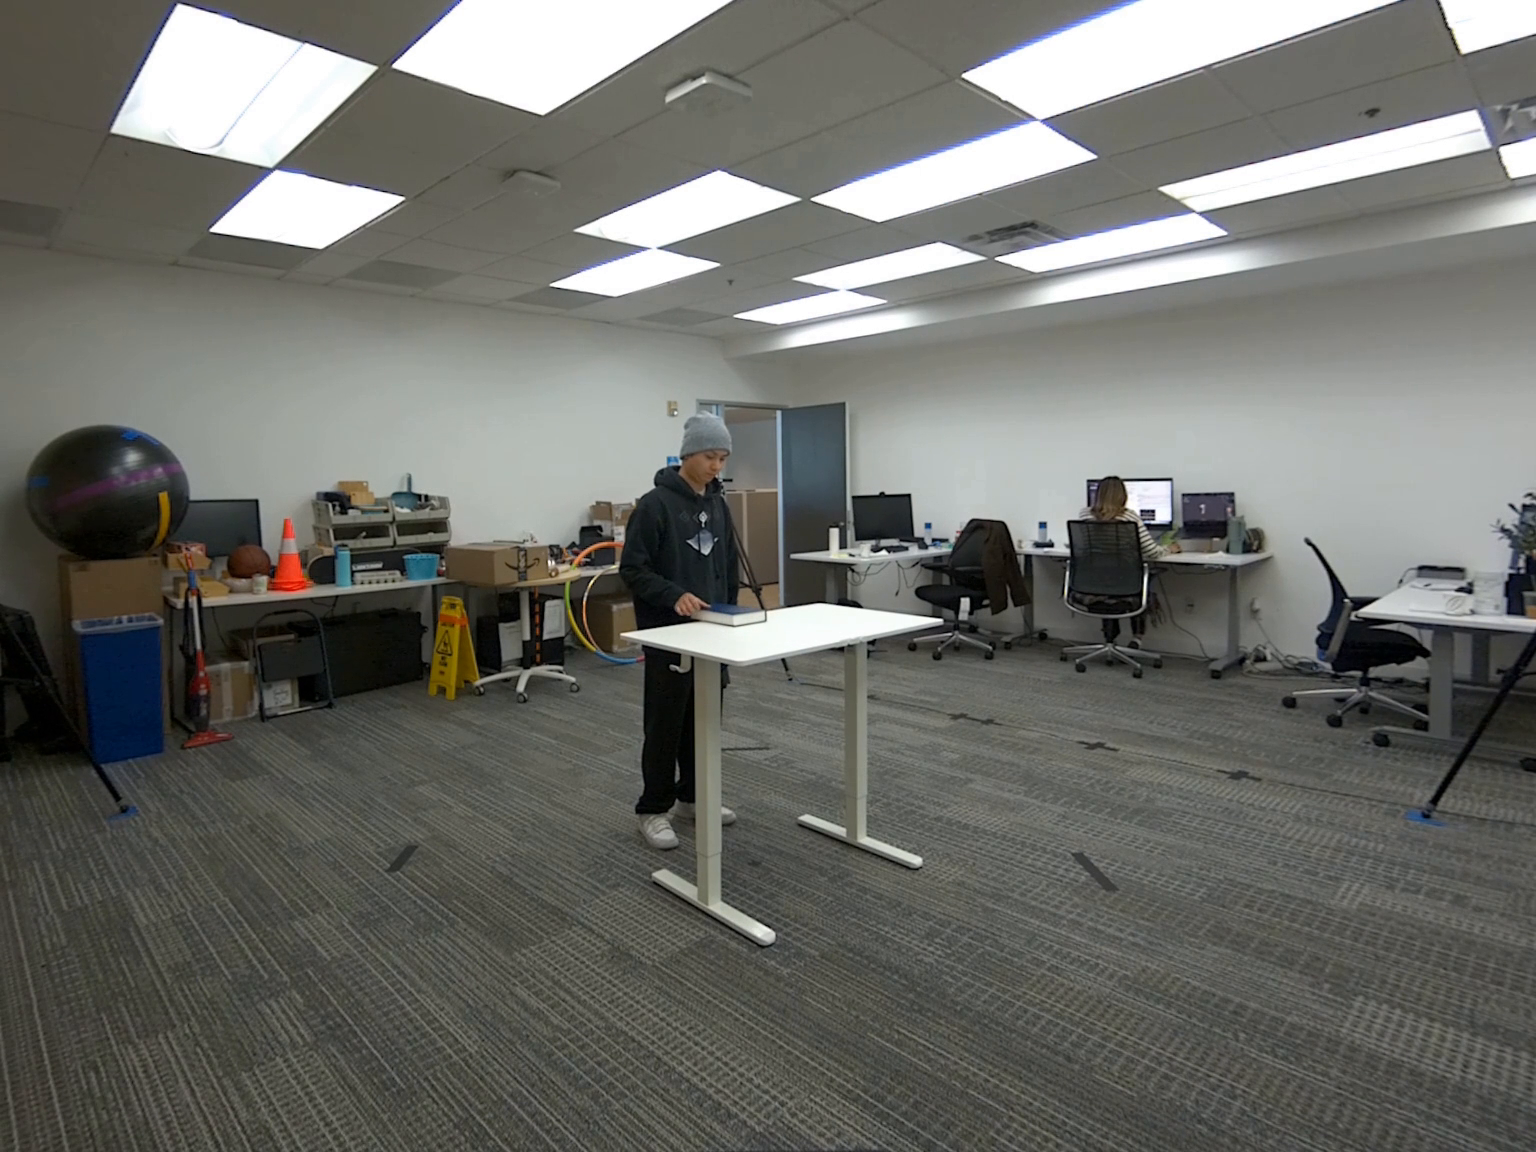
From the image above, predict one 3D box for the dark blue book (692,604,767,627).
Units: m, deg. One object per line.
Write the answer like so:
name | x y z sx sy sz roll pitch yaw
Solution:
dark blue book | -0.155 0.145 3.114 0.159 0.045 0.253 -7 8 -43
